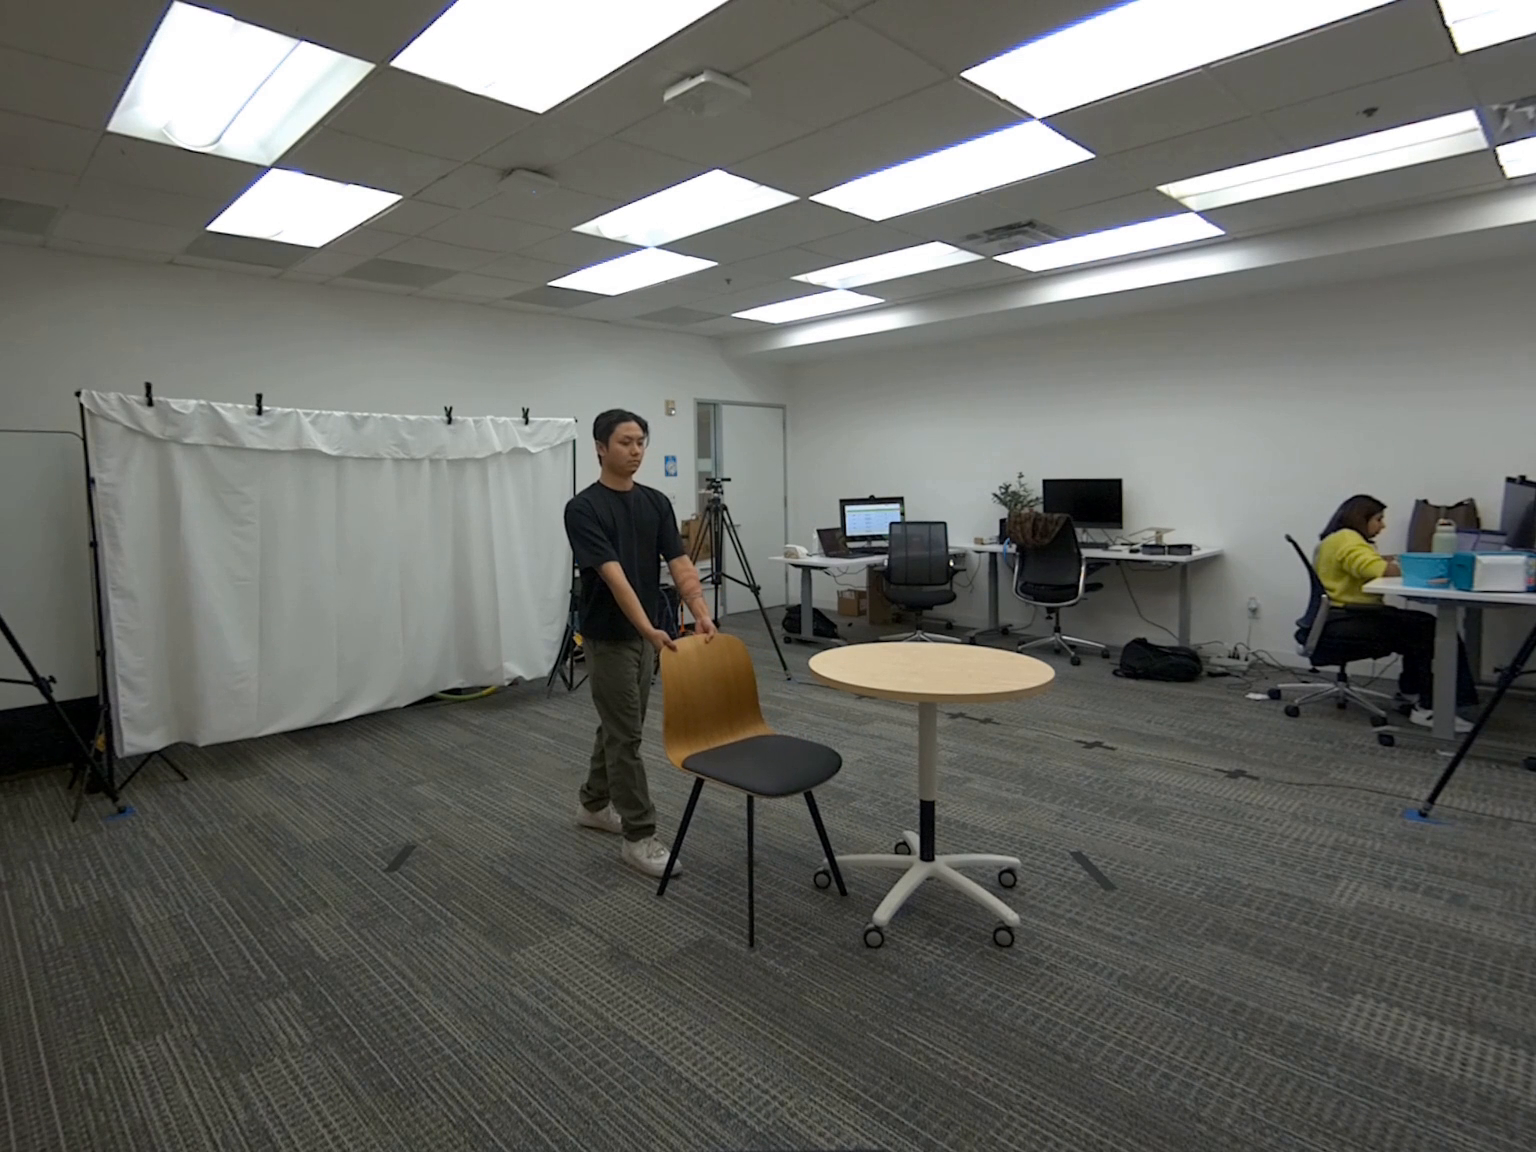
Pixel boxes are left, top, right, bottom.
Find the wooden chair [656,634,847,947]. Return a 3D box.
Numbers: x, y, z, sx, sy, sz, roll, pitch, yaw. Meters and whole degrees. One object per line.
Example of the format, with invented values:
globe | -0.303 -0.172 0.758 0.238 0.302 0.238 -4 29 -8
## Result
wooden chair | -0.054 0.646 2.820 0.465 0.877 0.537 -5 1 -44
